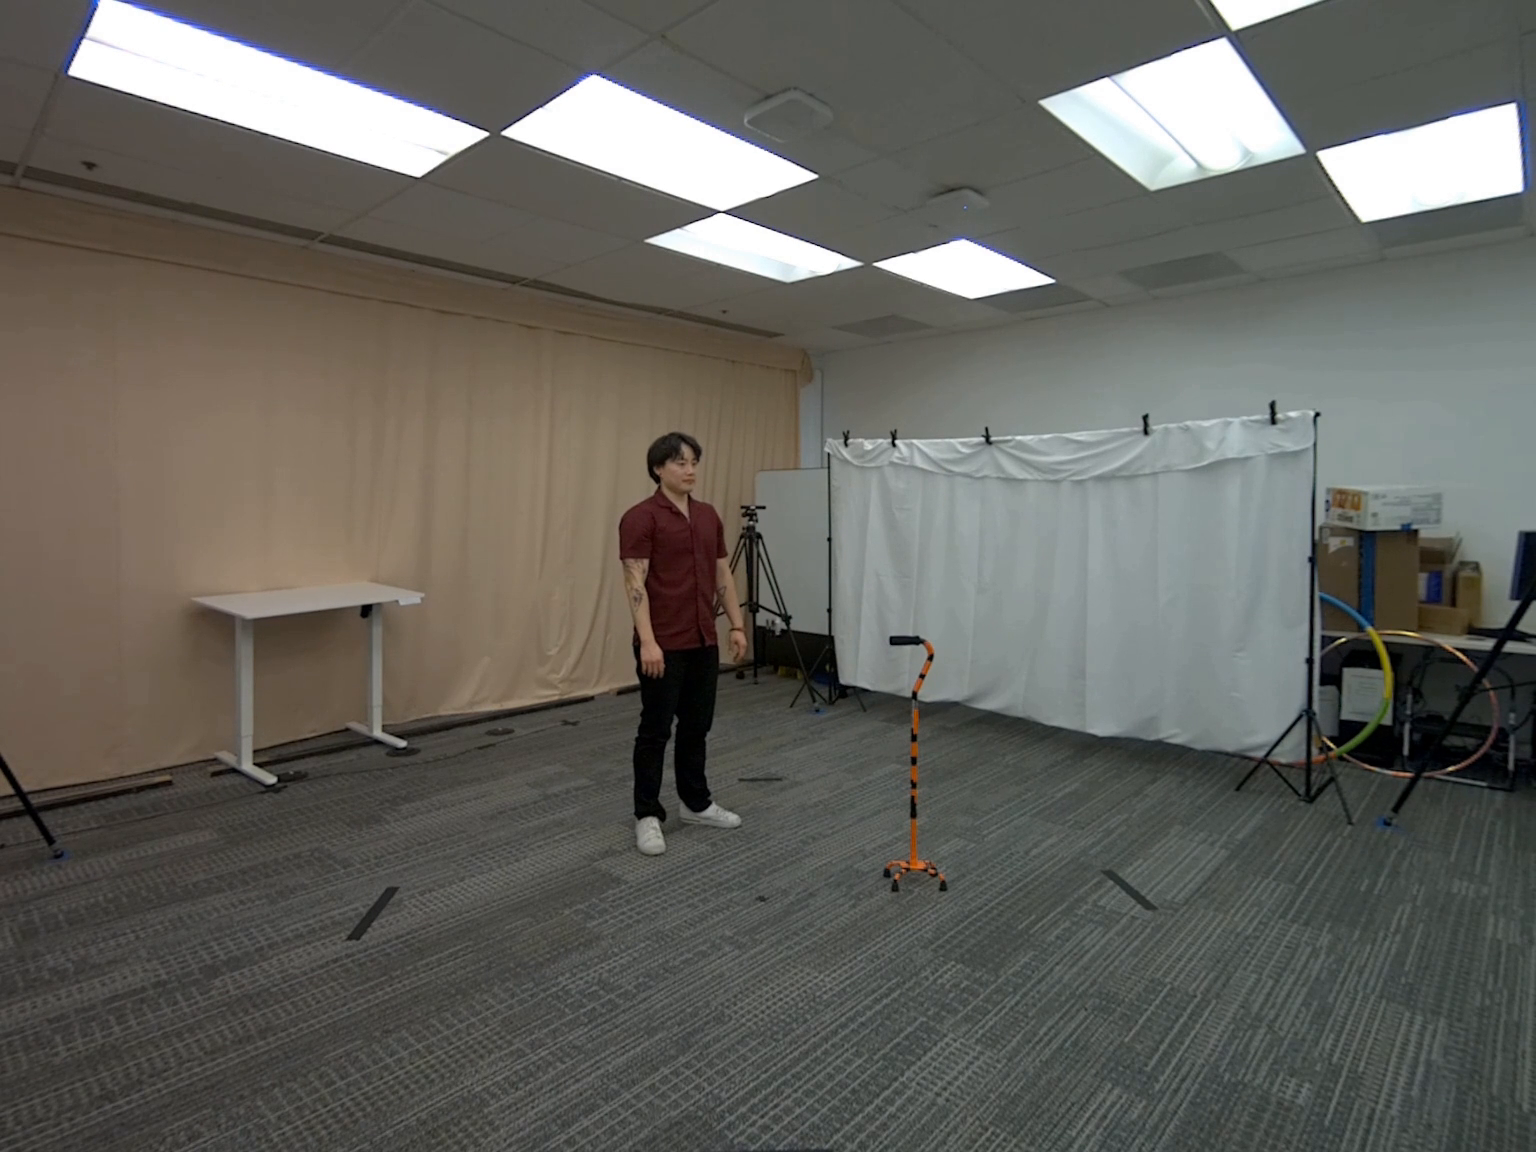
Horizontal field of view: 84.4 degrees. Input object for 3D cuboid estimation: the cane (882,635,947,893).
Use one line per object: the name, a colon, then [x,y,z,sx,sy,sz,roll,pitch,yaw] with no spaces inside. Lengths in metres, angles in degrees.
cane: [0.548,0.683,3.087,0.206,0.907,0.152,0,2,-4]
